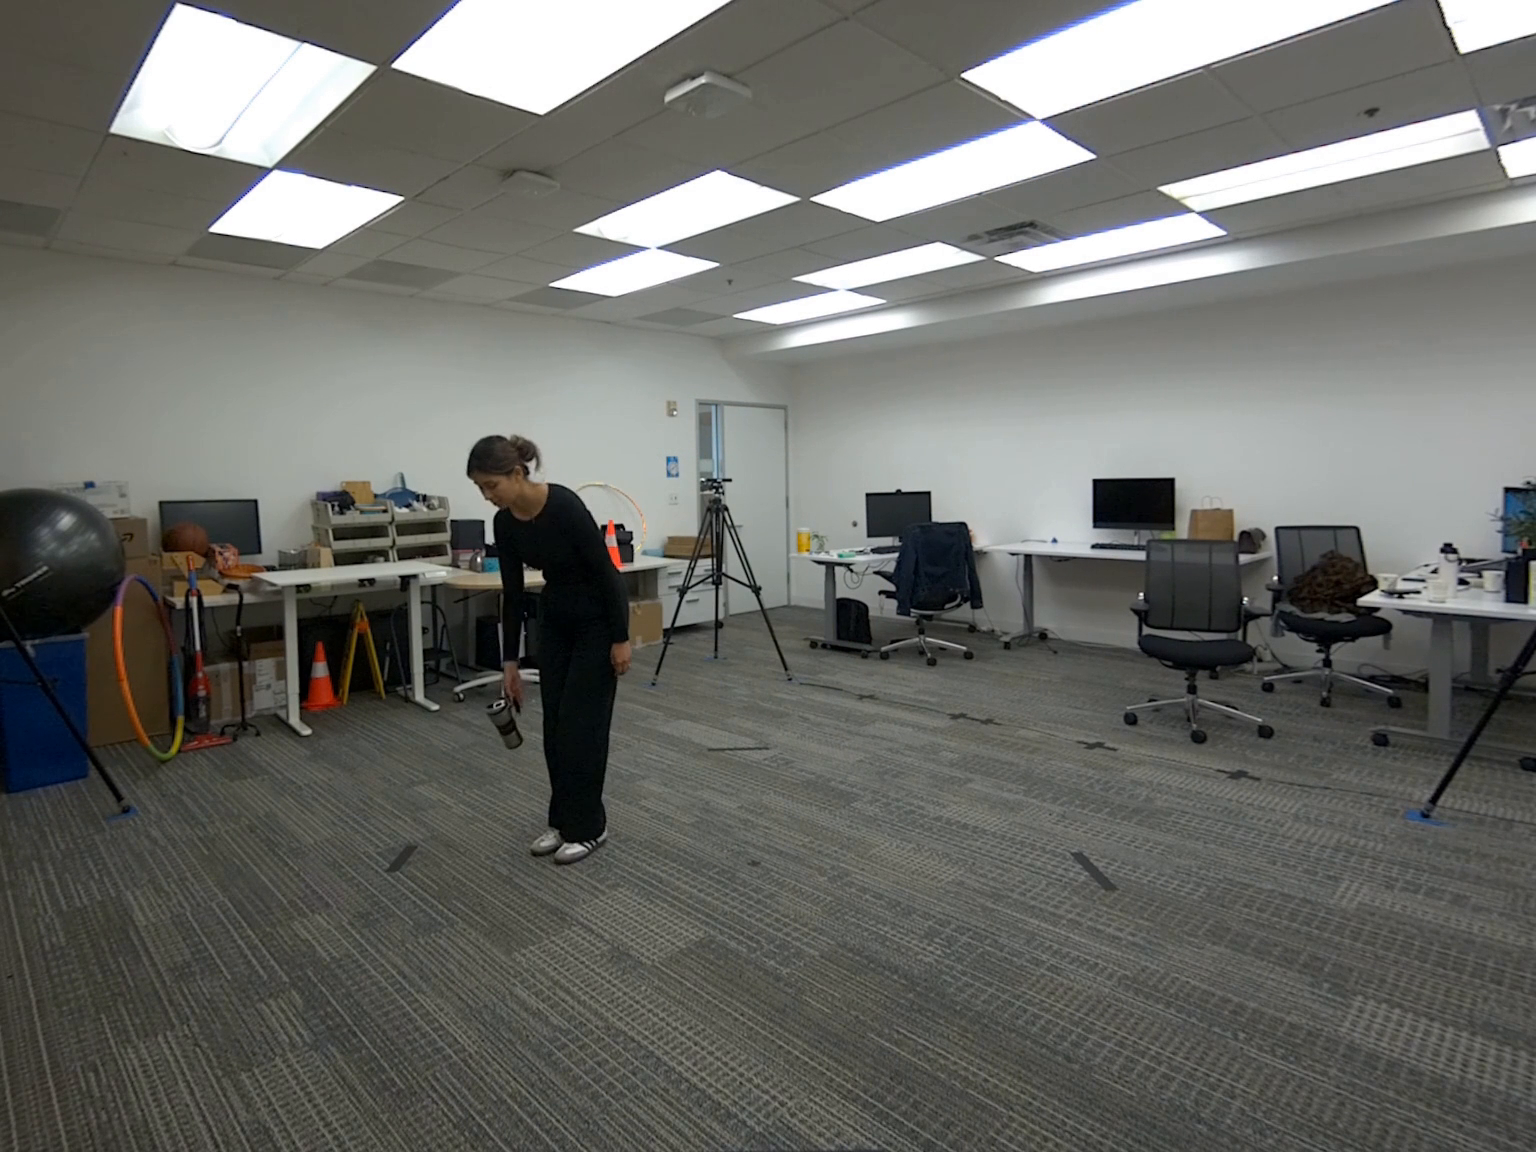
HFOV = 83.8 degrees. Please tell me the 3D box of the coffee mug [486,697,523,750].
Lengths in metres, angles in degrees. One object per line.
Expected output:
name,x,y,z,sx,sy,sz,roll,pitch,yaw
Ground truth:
coffee mug,-0.988,0.564,3.276,0.121,0.197,0.091,-35,30,-26
